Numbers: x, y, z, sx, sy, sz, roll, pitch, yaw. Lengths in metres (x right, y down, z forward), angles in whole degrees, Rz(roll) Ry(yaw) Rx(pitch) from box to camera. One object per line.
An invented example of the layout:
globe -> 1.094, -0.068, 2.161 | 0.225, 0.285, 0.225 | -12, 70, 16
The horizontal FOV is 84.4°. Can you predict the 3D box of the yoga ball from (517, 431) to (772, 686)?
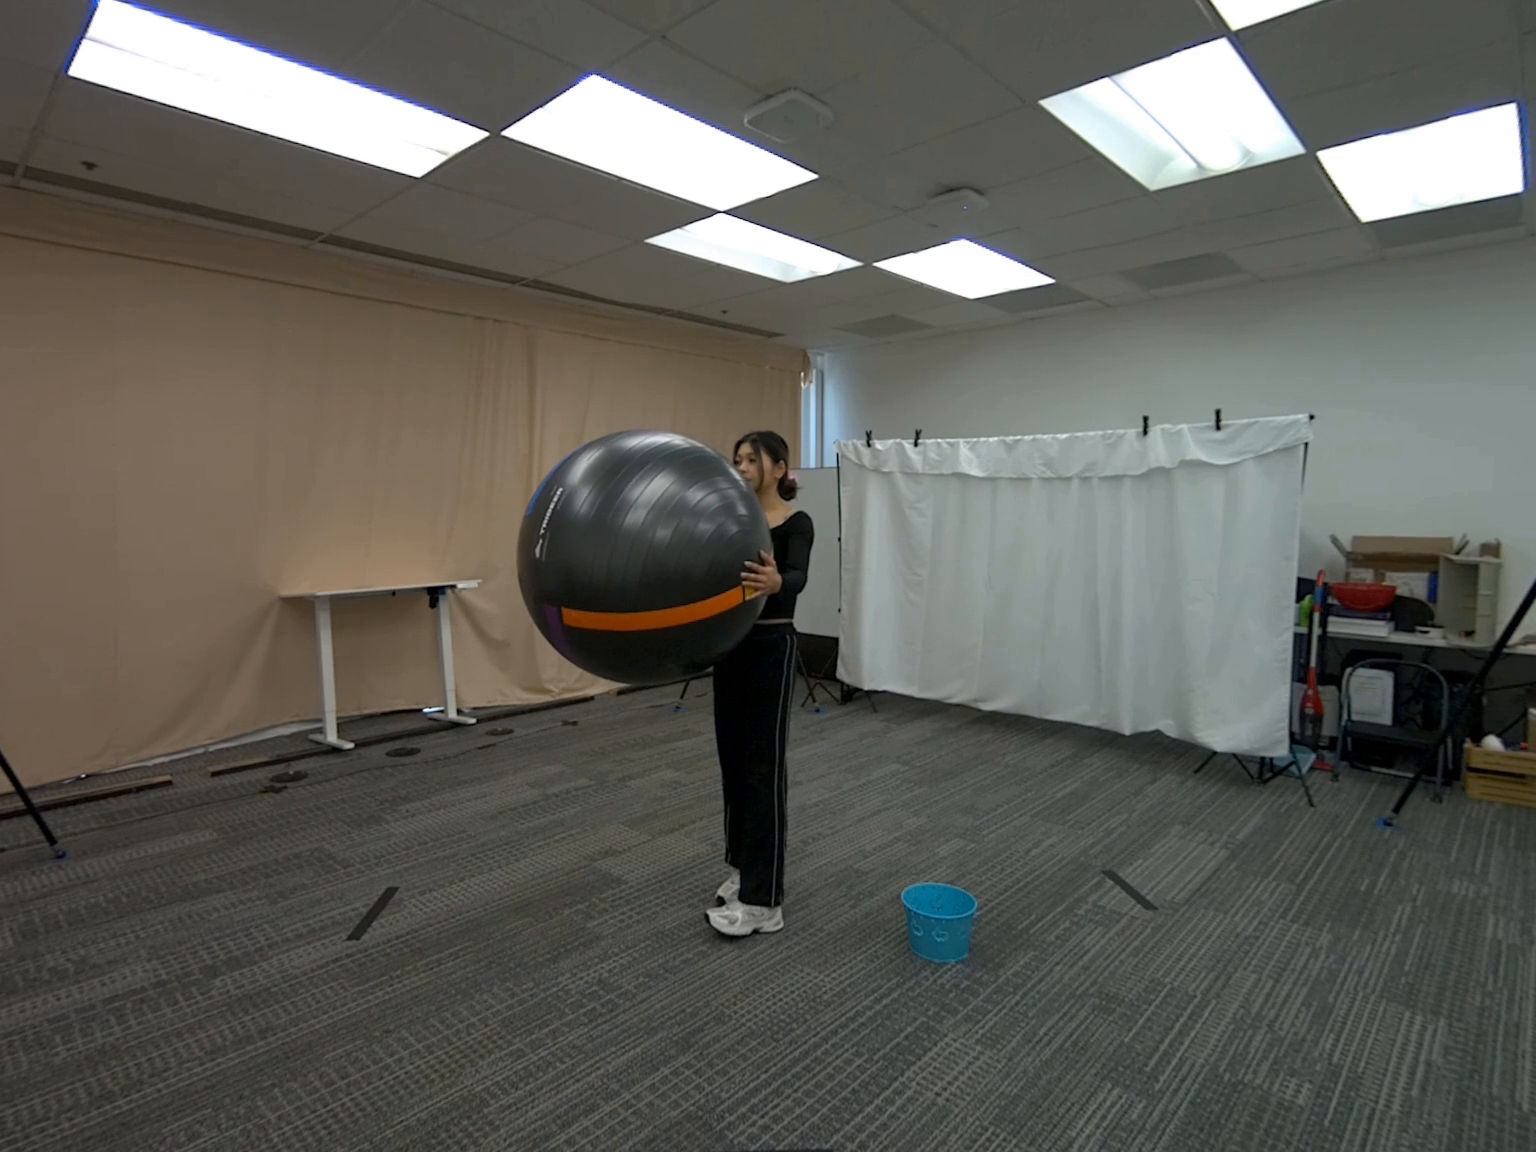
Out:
yoga ball -> -0.365, -0.049, 2.511 | 0.757, 0.756, 0.760 | 0, 4, -2
